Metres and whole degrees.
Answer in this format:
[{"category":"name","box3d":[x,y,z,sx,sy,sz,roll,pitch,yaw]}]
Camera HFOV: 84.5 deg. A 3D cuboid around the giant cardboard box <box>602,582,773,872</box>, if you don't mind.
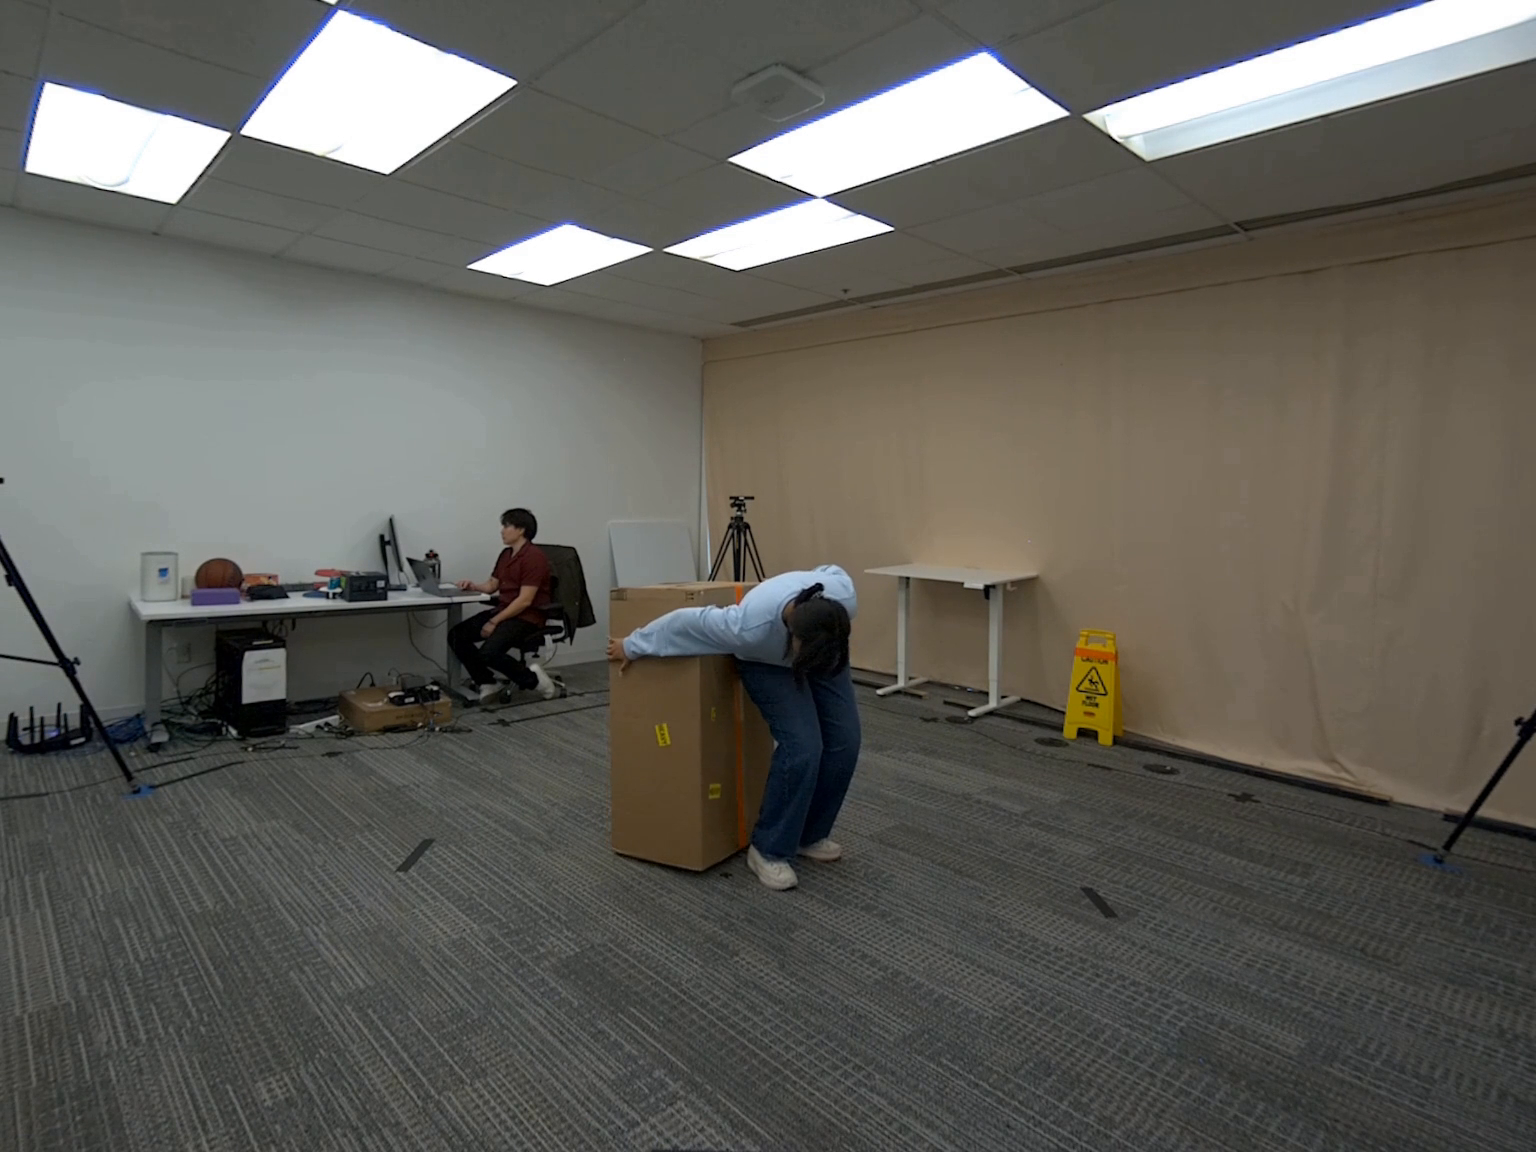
[{"category":"giant cardboard box","box3d":[-0.302,0.547,3.398,0.435,1.027,0.565,-1,-1,30]}]
